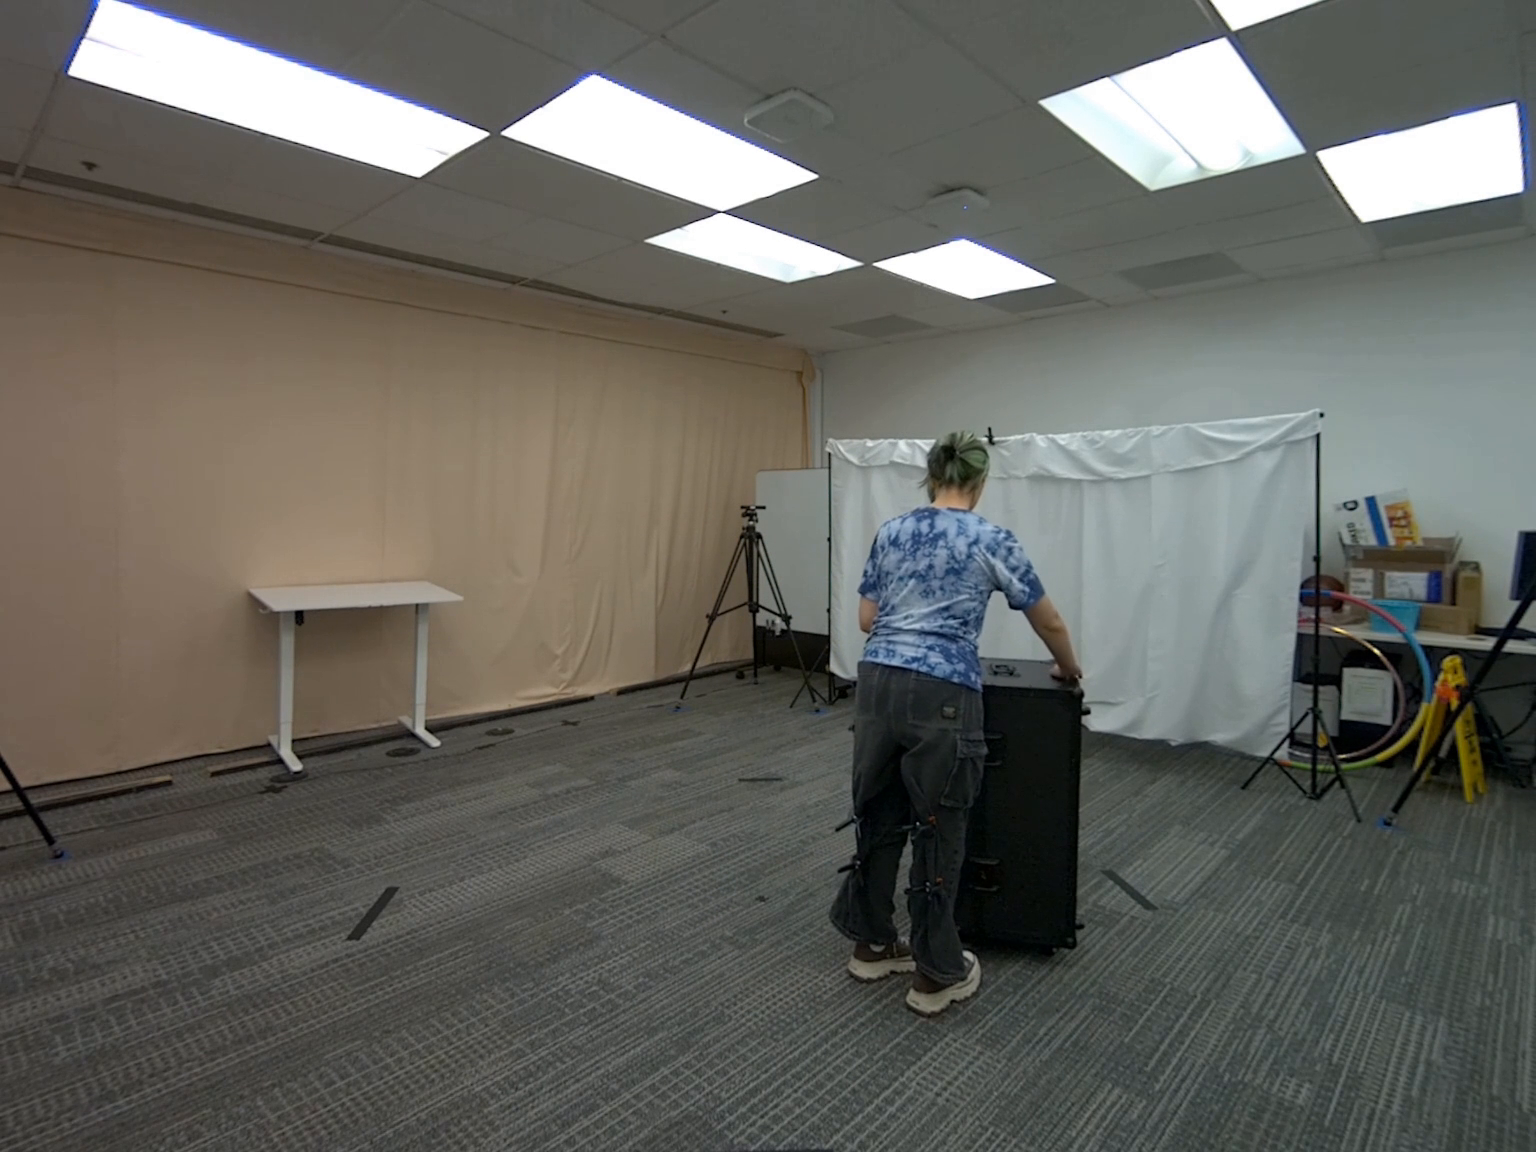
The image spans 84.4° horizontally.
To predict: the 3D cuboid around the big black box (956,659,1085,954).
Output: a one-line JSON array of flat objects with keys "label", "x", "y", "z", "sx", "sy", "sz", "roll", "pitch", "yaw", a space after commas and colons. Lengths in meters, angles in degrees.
[{"label": "big black box", "x": 0.808, "y": 0.736, "z": 2.760, "sx": 0.402, "sy": 0.859, "sz": 0.515, "roll": 2, "pitch": 4, "yaw": 13}]
